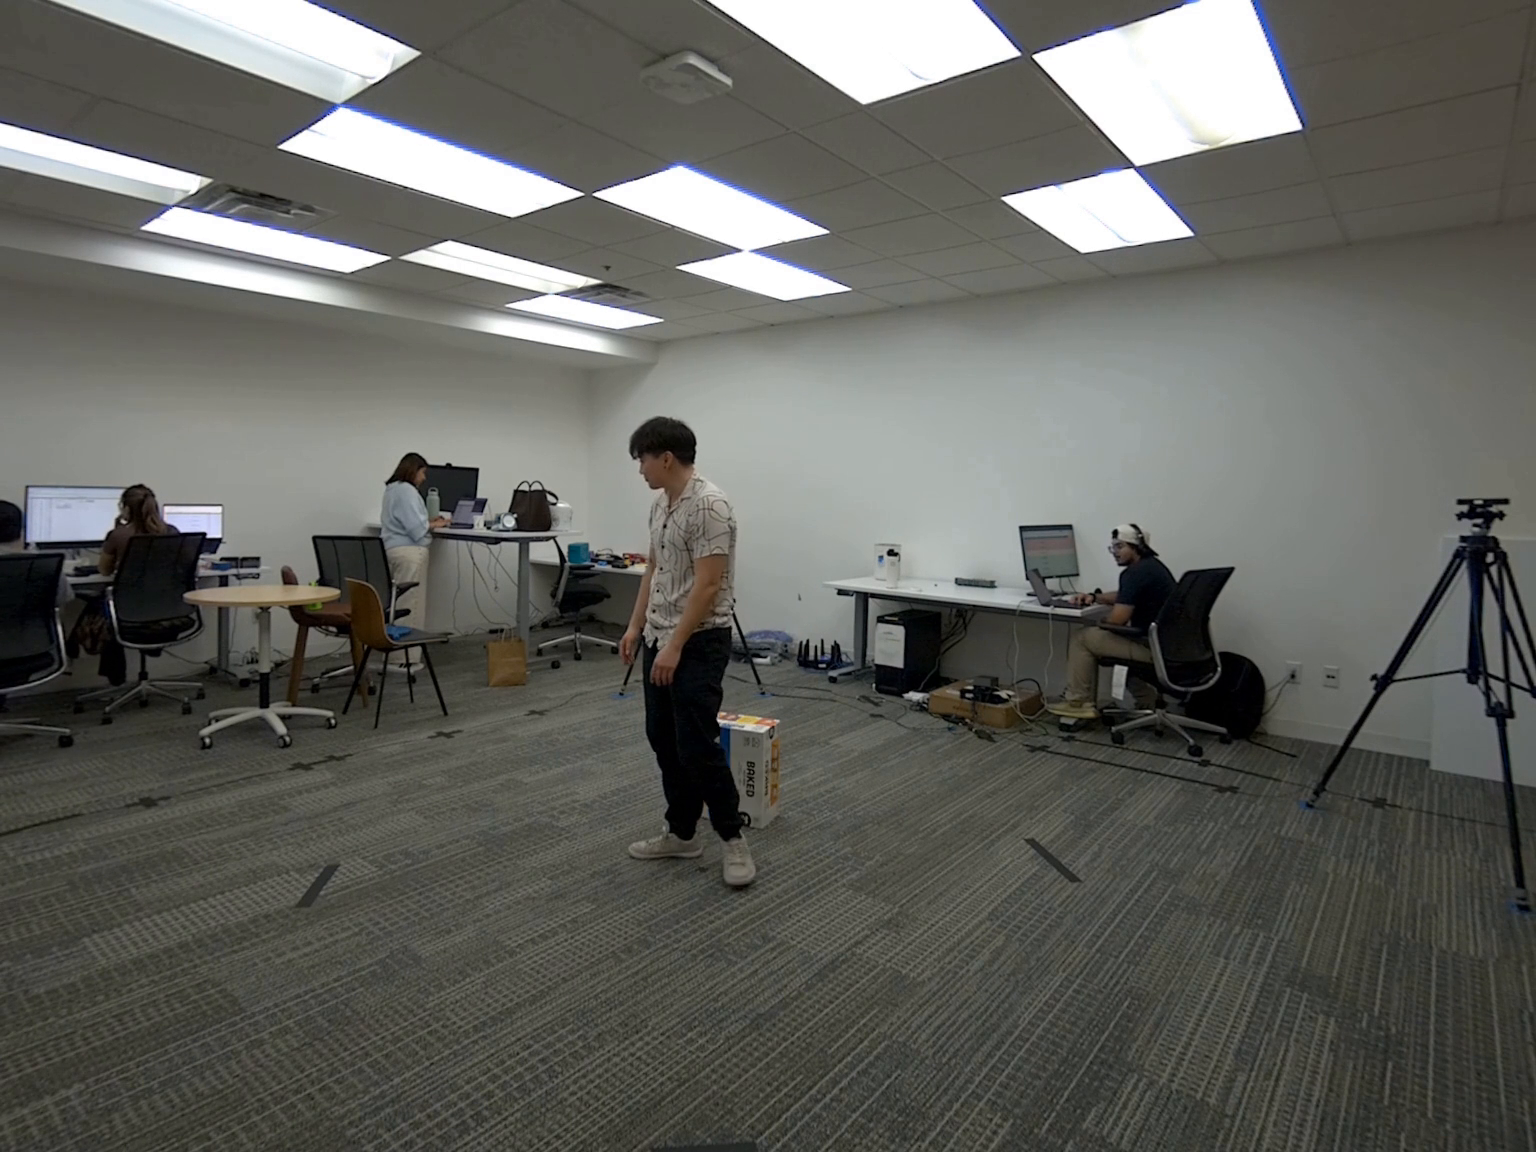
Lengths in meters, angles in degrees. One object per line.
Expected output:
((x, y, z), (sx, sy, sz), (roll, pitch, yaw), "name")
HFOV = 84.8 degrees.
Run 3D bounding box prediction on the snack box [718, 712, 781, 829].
((-0.149, 0.814, 3.636), (0.349, 0.404, 0.201), (3, 4, 24), "snack box")
